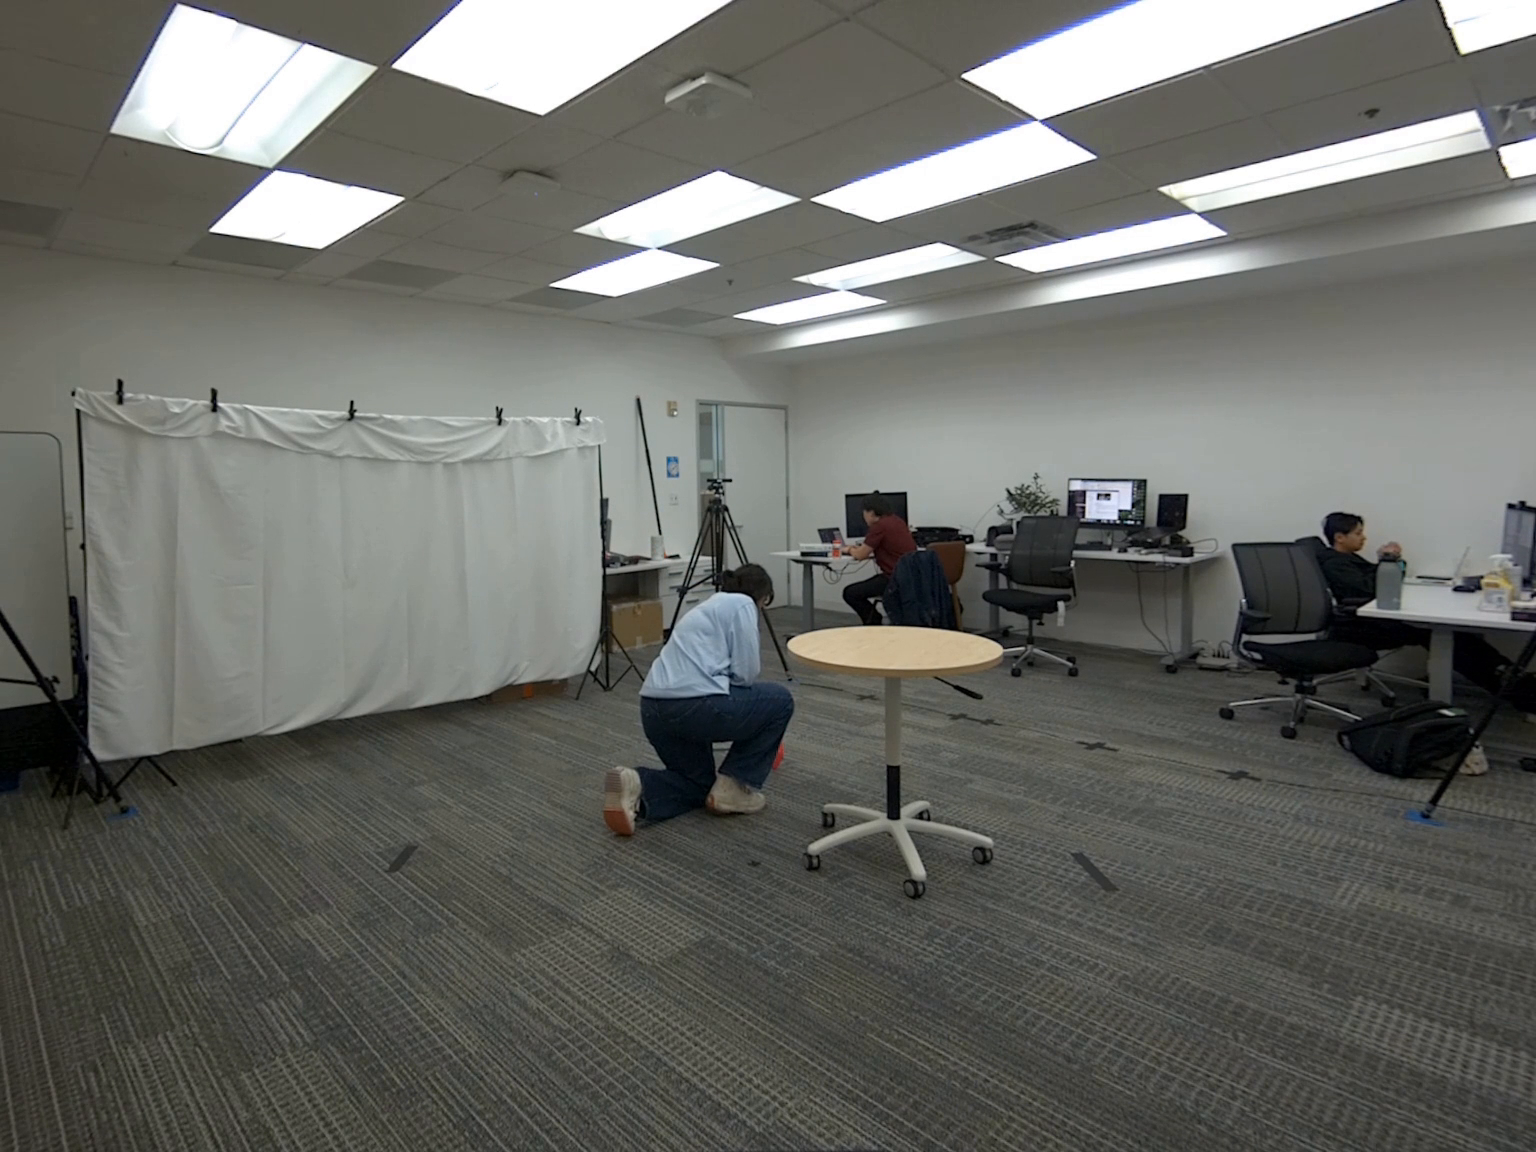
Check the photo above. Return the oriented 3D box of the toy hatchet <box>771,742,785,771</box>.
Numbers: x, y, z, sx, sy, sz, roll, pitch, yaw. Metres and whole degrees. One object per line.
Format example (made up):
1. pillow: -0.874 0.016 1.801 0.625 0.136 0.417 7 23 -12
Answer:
1. toy hatchet: -0.023 0.861 4.063 0.262 0.131 0.030 4 -1 -38
